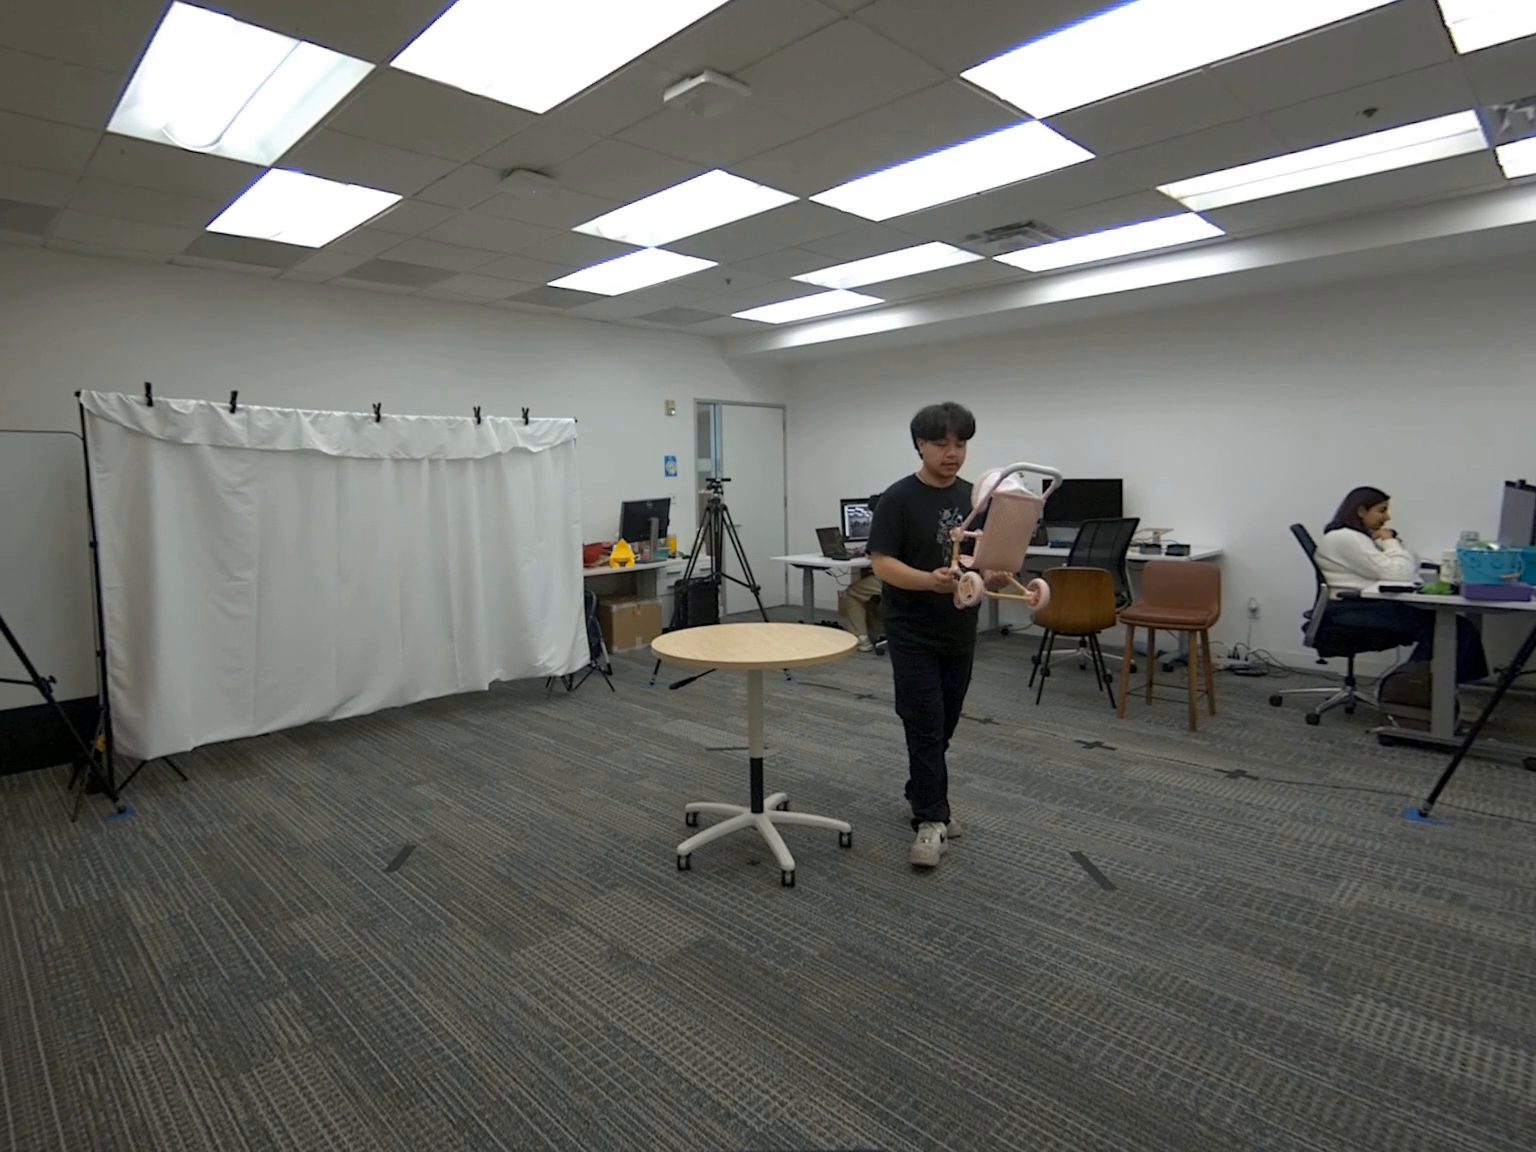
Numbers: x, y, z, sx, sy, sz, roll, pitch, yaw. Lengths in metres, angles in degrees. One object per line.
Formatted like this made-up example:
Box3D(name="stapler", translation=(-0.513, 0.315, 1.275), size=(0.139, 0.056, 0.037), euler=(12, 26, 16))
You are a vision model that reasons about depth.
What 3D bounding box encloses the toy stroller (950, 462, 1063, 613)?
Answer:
Box3D(name="toy stroller", translation=(0.750, -0.117, 2.821), size=(0.277, 0.532, 0.348), euler=(5, 8, -14))
